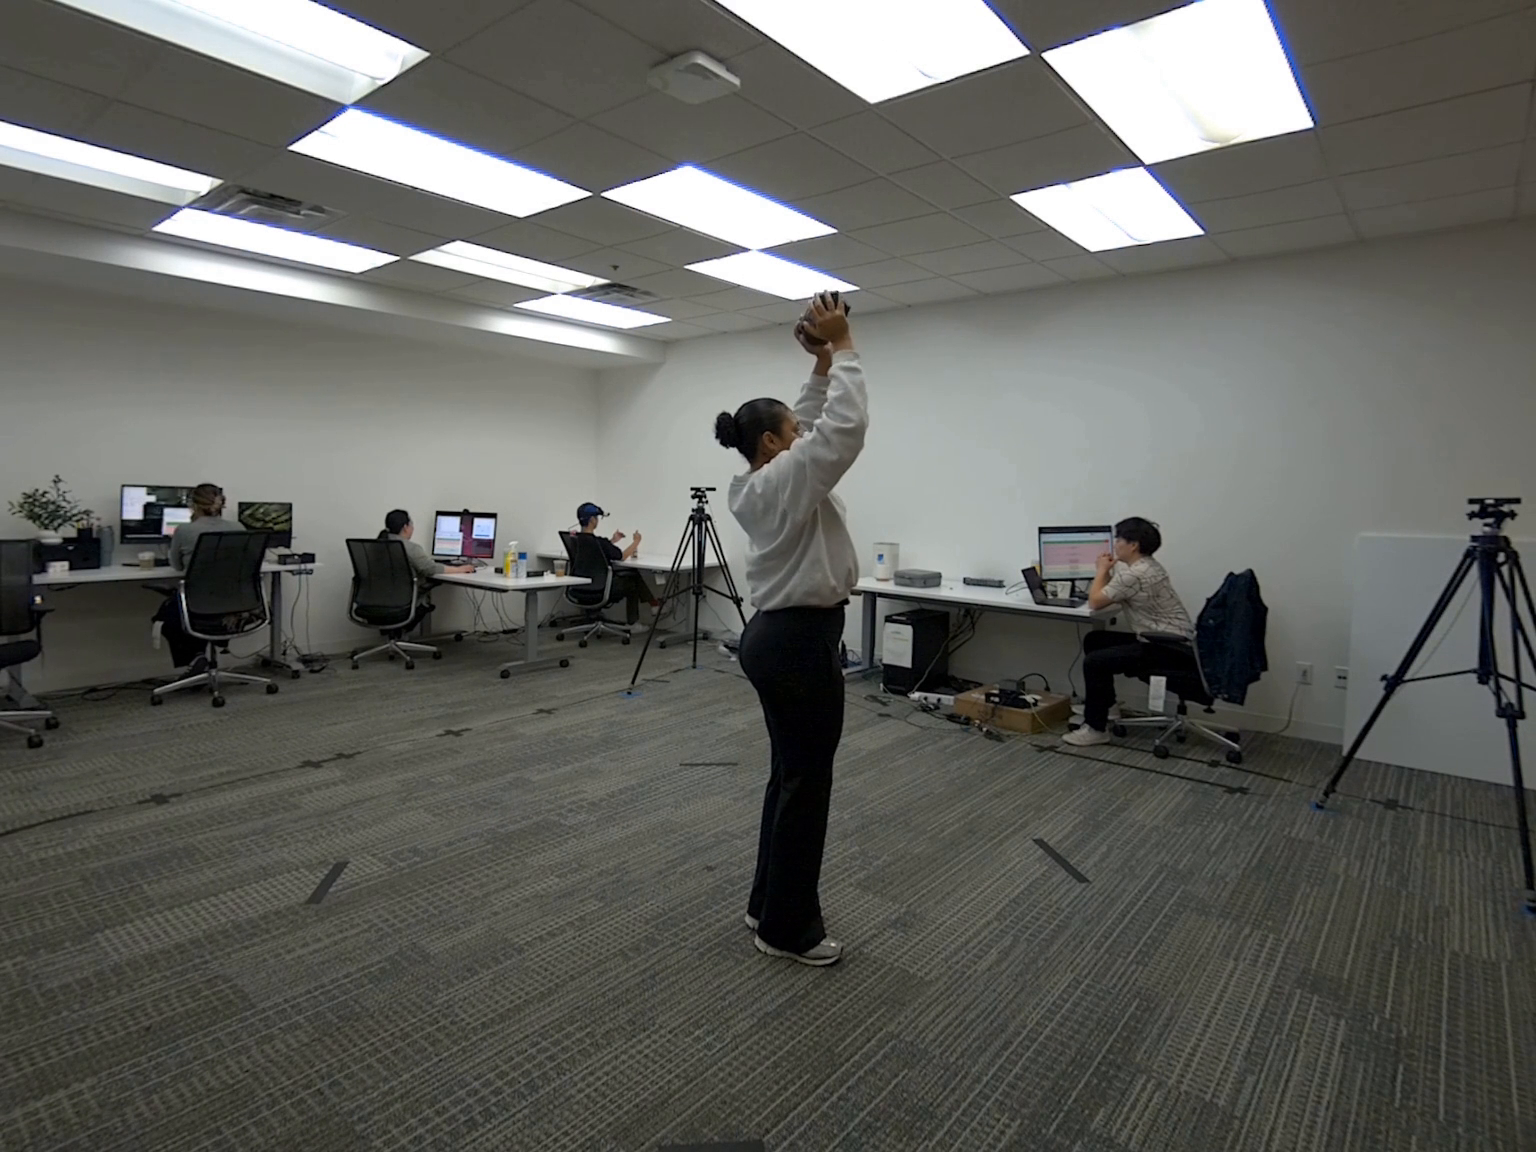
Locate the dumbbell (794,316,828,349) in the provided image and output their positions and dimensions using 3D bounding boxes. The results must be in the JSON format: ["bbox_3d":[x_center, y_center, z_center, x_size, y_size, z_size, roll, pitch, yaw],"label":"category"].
[{"bbox_3d":[0.166,-0.766,2.552,0.108,0.123,0.295,25,4,-4],"label":"dumbbell"}]
